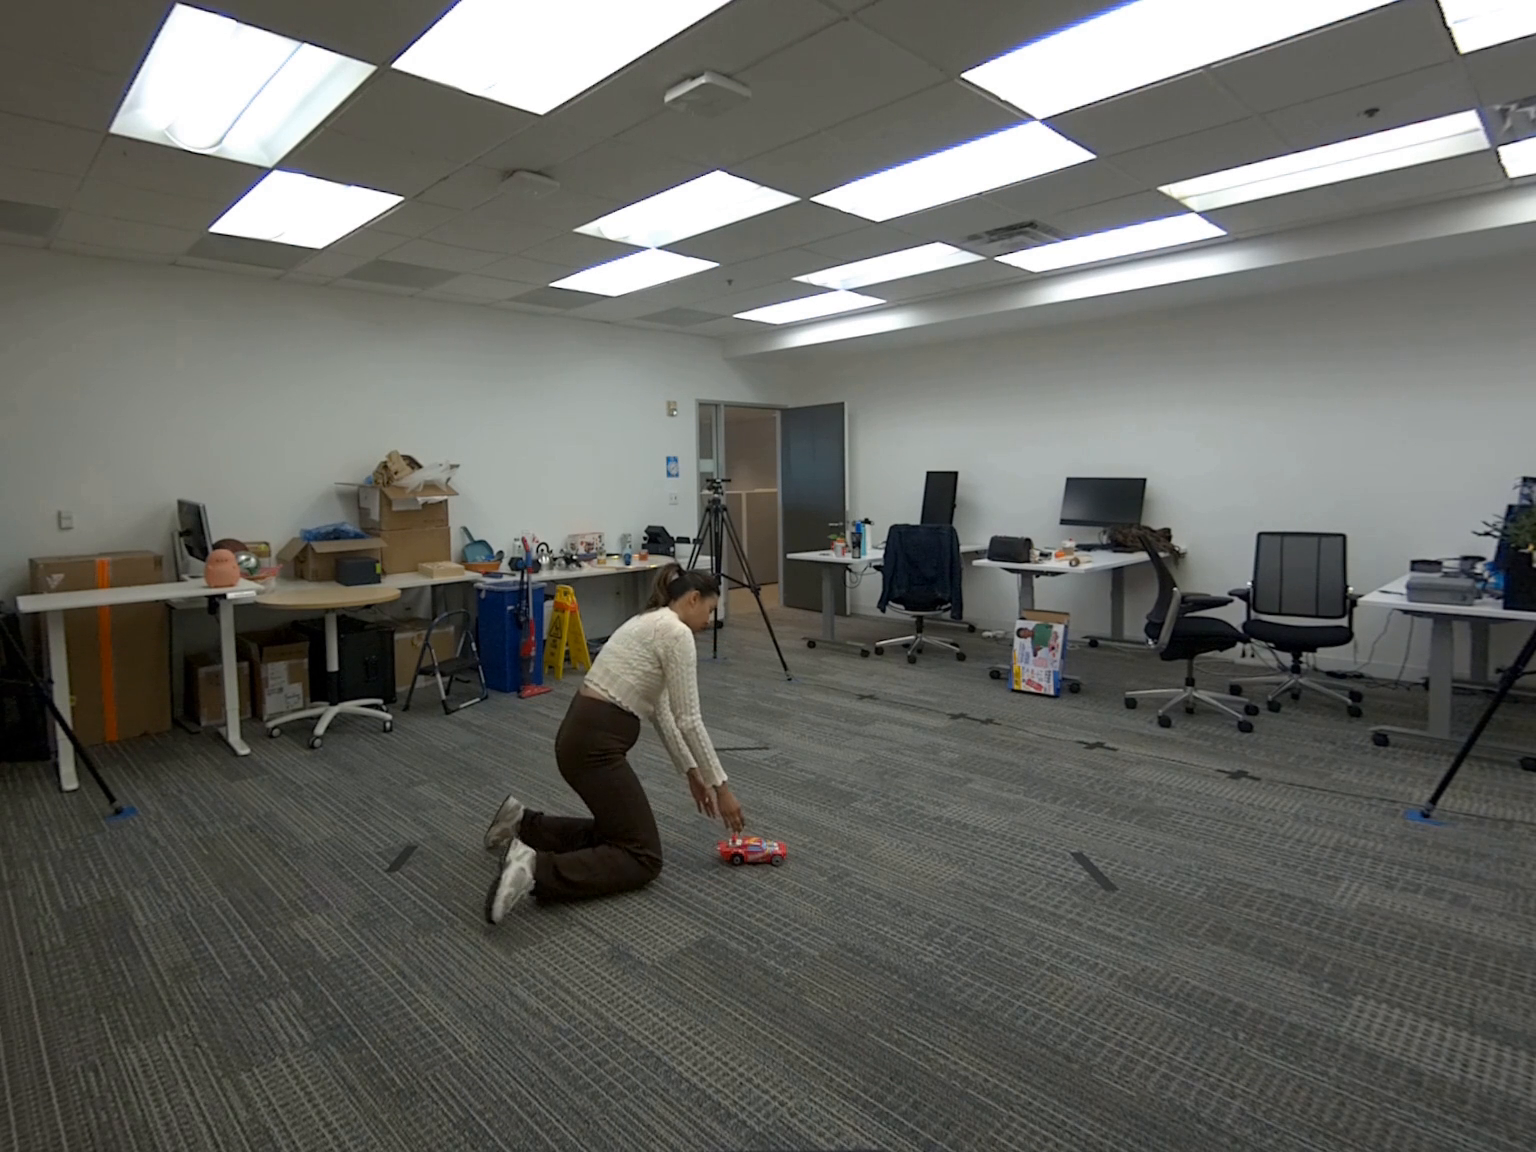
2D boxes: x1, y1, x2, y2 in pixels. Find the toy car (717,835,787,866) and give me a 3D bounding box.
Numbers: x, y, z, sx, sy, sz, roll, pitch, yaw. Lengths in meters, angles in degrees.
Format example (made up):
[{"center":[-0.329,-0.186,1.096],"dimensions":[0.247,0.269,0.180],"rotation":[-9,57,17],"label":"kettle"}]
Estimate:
[{"center":[-0.064,1.004,3.129],"dimensions":[0.254,0.083,0.131],"rotation":[11,6,-1],"label":"toy car"}]
